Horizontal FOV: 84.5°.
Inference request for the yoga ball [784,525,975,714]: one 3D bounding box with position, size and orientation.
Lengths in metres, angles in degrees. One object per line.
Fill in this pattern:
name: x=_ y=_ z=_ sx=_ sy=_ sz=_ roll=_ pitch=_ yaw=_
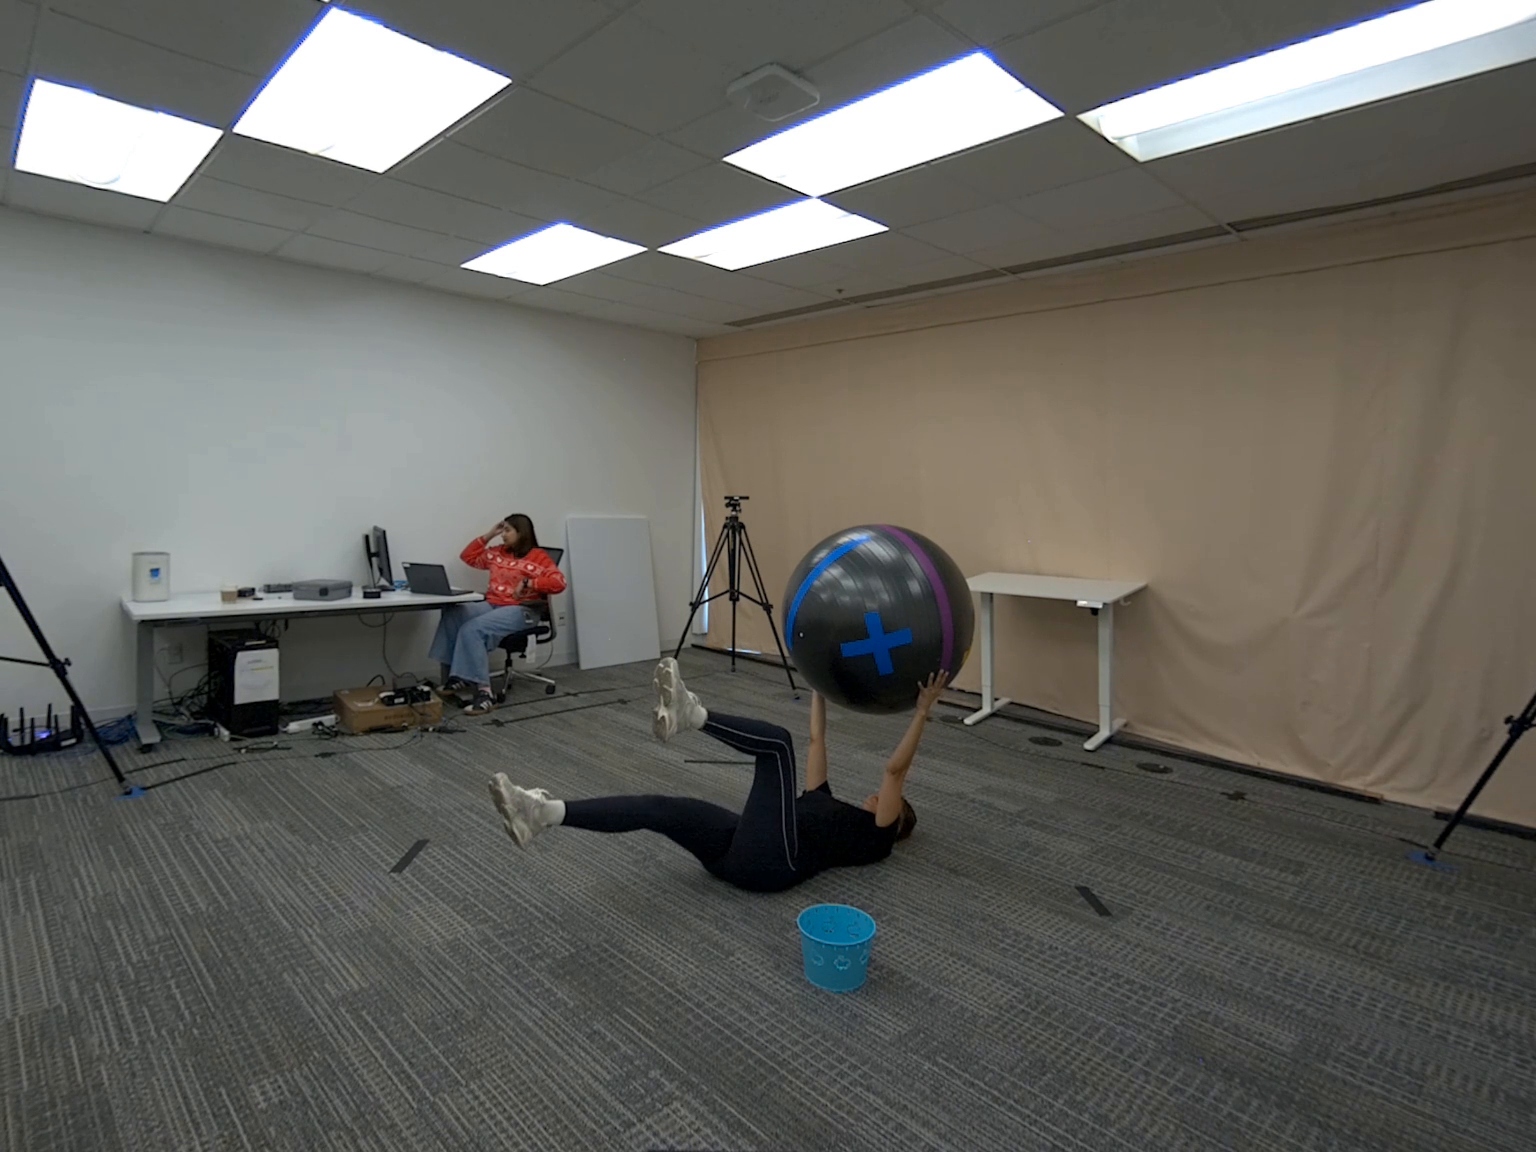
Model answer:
yoga ball: x=0.429 y=0.172 z=3.364 sx=0.757 sy=0.754 sz=0.762 roll=0 pitch=7 yaw=-1
